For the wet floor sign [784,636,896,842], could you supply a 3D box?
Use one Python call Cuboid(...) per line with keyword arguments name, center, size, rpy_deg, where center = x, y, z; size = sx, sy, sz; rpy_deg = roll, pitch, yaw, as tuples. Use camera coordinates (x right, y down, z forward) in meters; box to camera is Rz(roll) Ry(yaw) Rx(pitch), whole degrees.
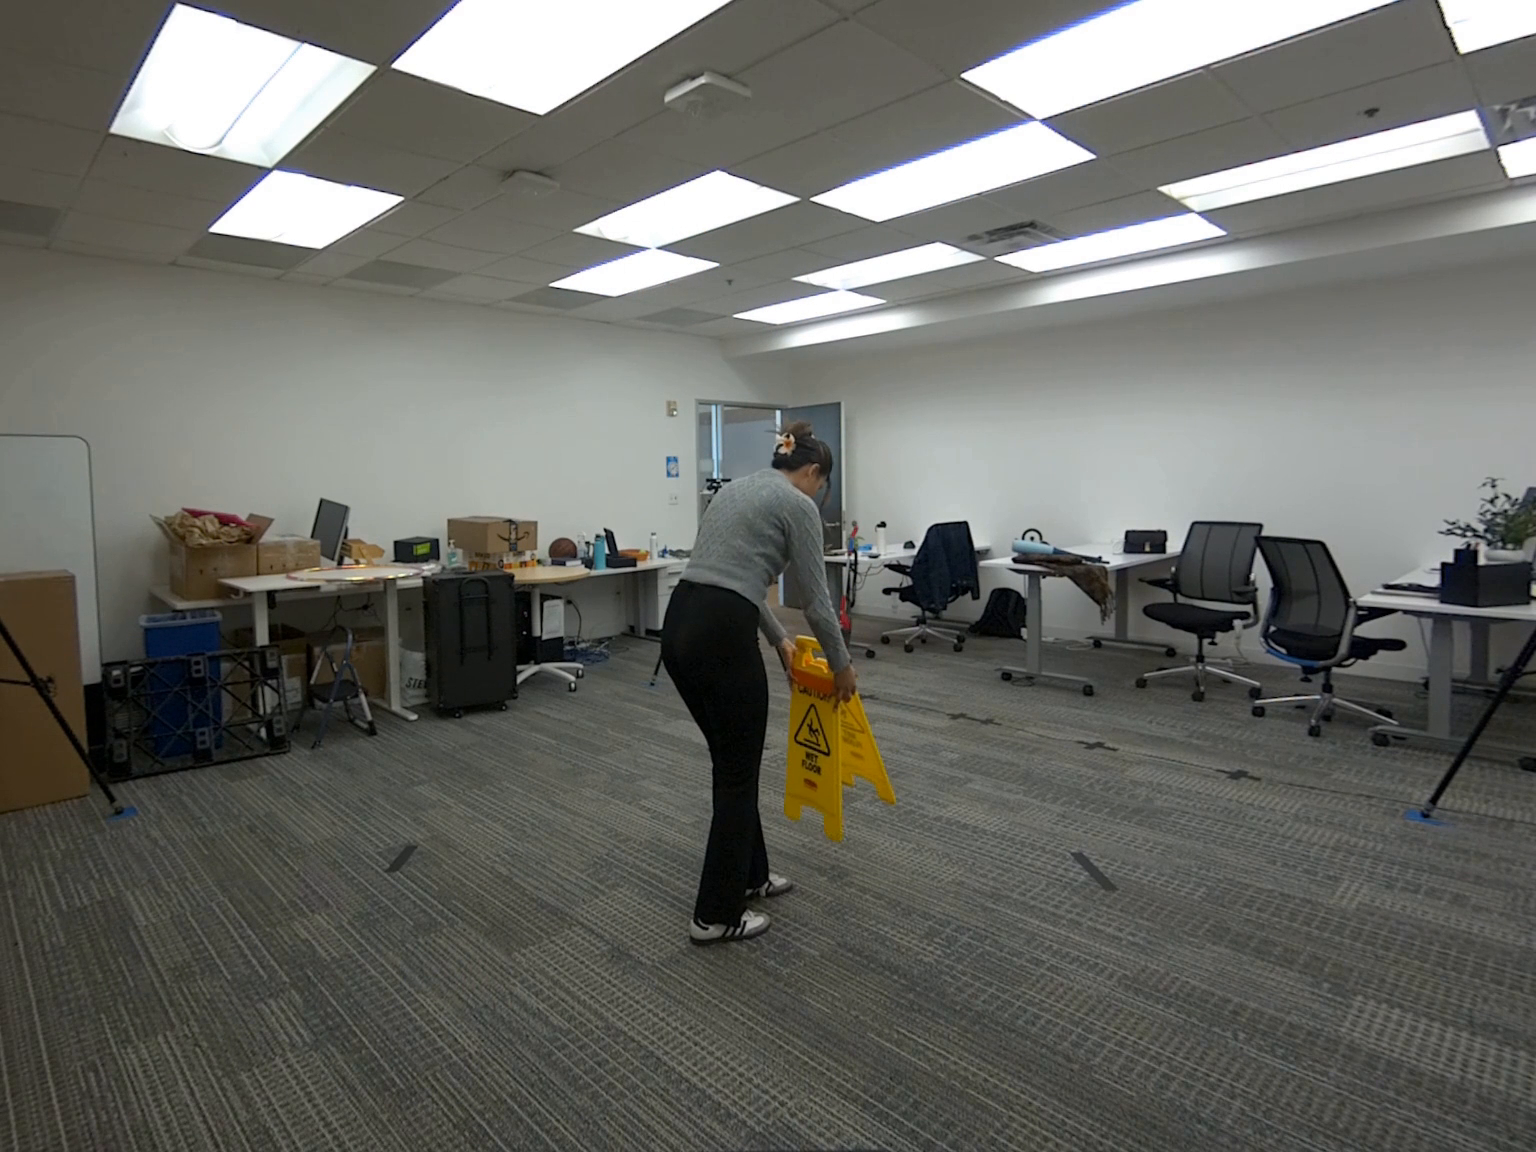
Cuboid(name="wet floor sign", center=(0.214, 0.523, 2.965), size=(0.284, 0.637, 0.291), rpy_deg=(-18, 16, -37))
